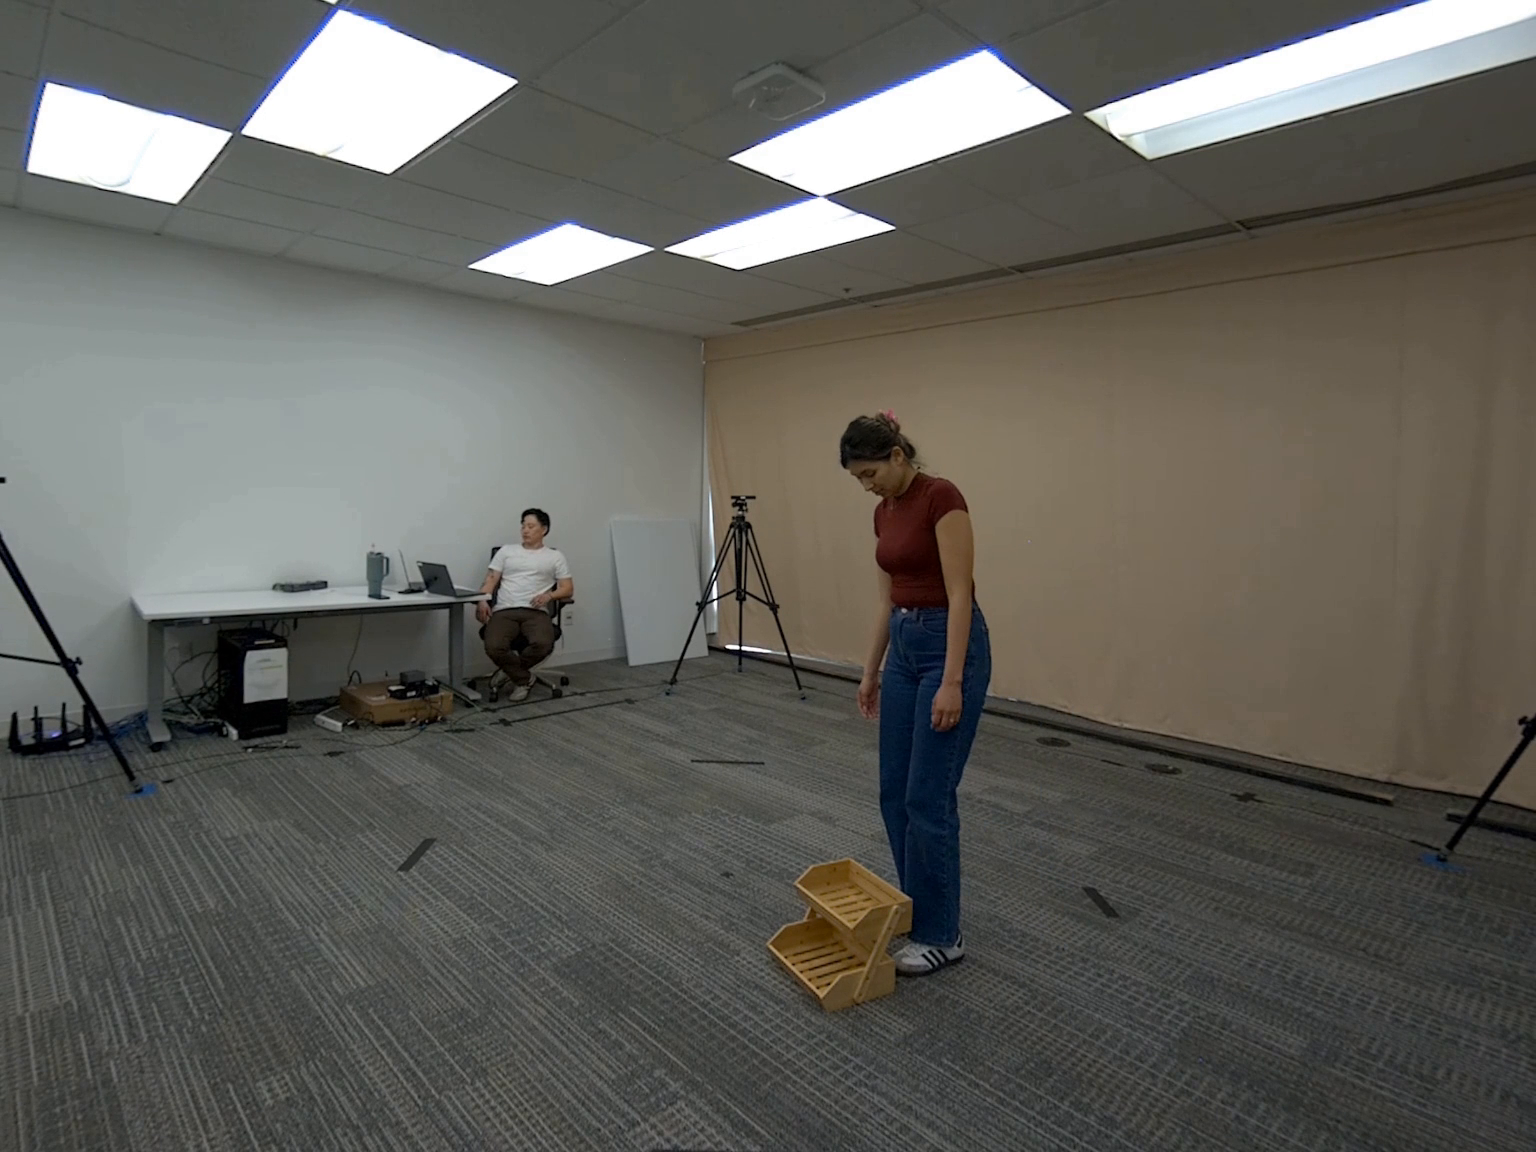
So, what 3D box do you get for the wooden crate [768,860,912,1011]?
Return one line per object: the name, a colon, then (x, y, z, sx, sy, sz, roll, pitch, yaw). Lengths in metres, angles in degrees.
wooden crate: (0.198, 1.035, 2.465, 0.296, 0.273, 0.332, 0, 4, -29)
